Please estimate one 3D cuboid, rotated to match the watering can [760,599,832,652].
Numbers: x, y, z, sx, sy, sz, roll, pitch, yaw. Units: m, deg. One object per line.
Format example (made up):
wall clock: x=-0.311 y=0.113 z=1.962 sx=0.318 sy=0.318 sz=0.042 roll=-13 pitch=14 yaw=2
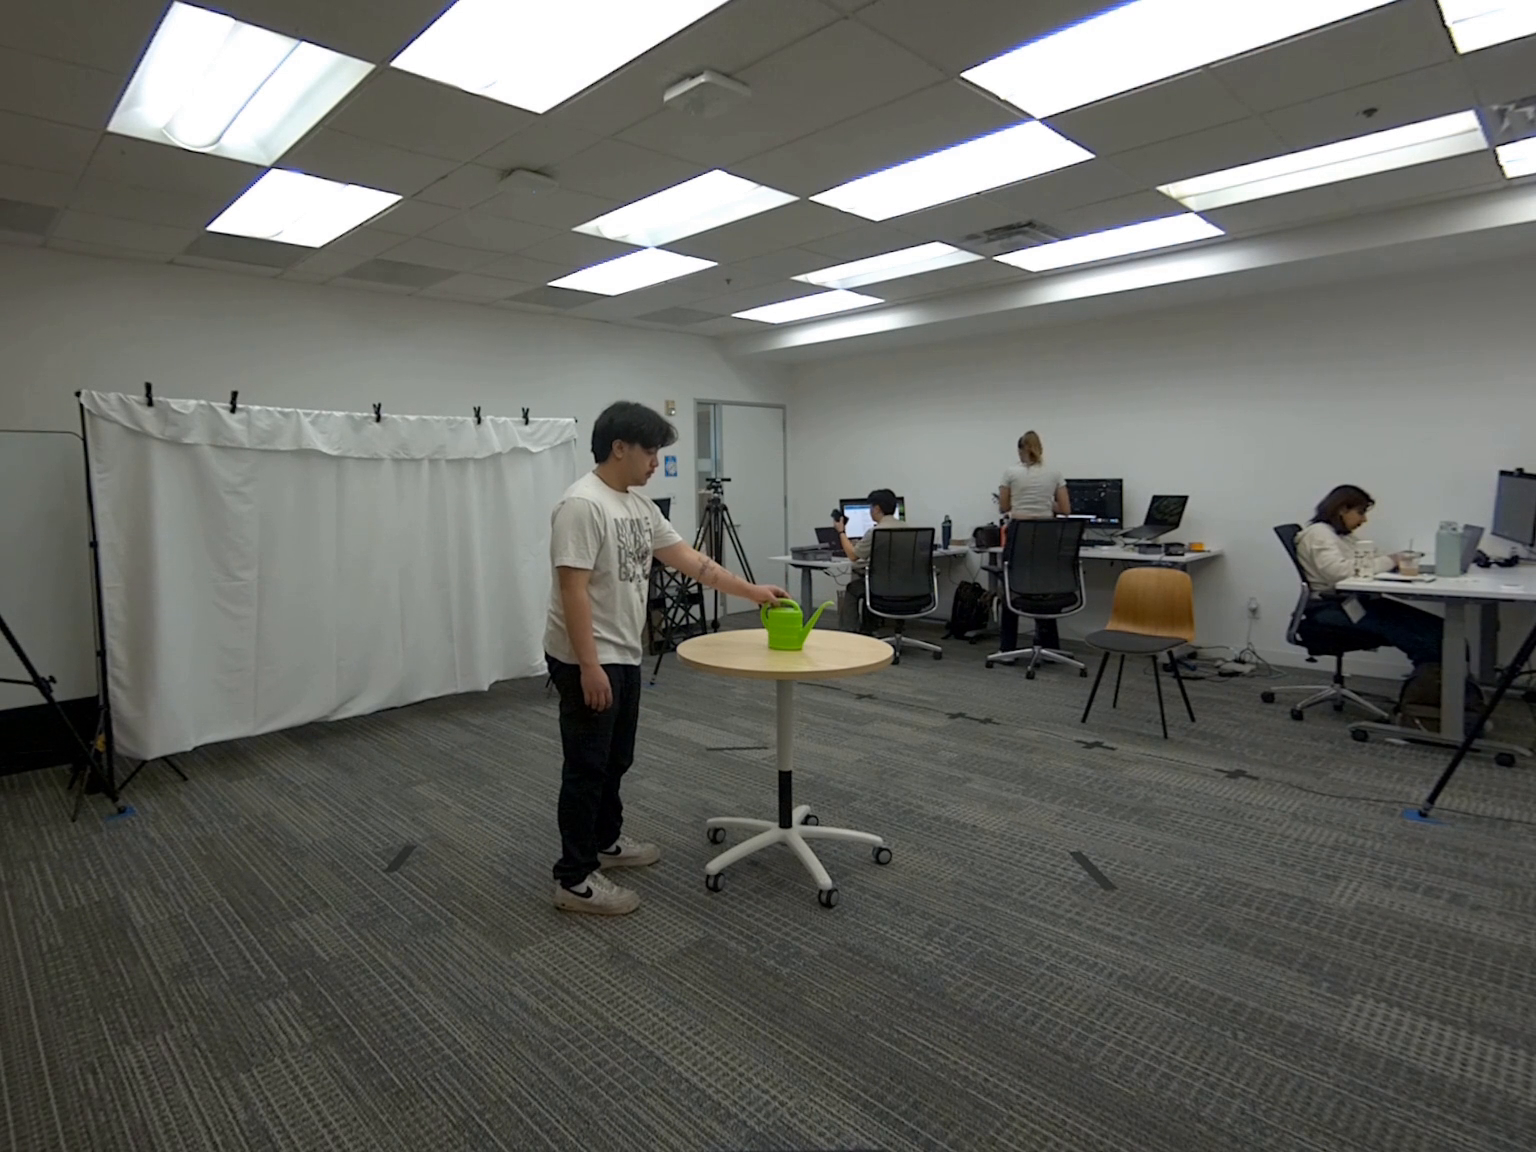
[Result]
watering can: x=0.094 y=0.170 z=2.992 sx=0.286 sy=0.176 sz=0.095 roll=2 pitch=4 yaw=43
